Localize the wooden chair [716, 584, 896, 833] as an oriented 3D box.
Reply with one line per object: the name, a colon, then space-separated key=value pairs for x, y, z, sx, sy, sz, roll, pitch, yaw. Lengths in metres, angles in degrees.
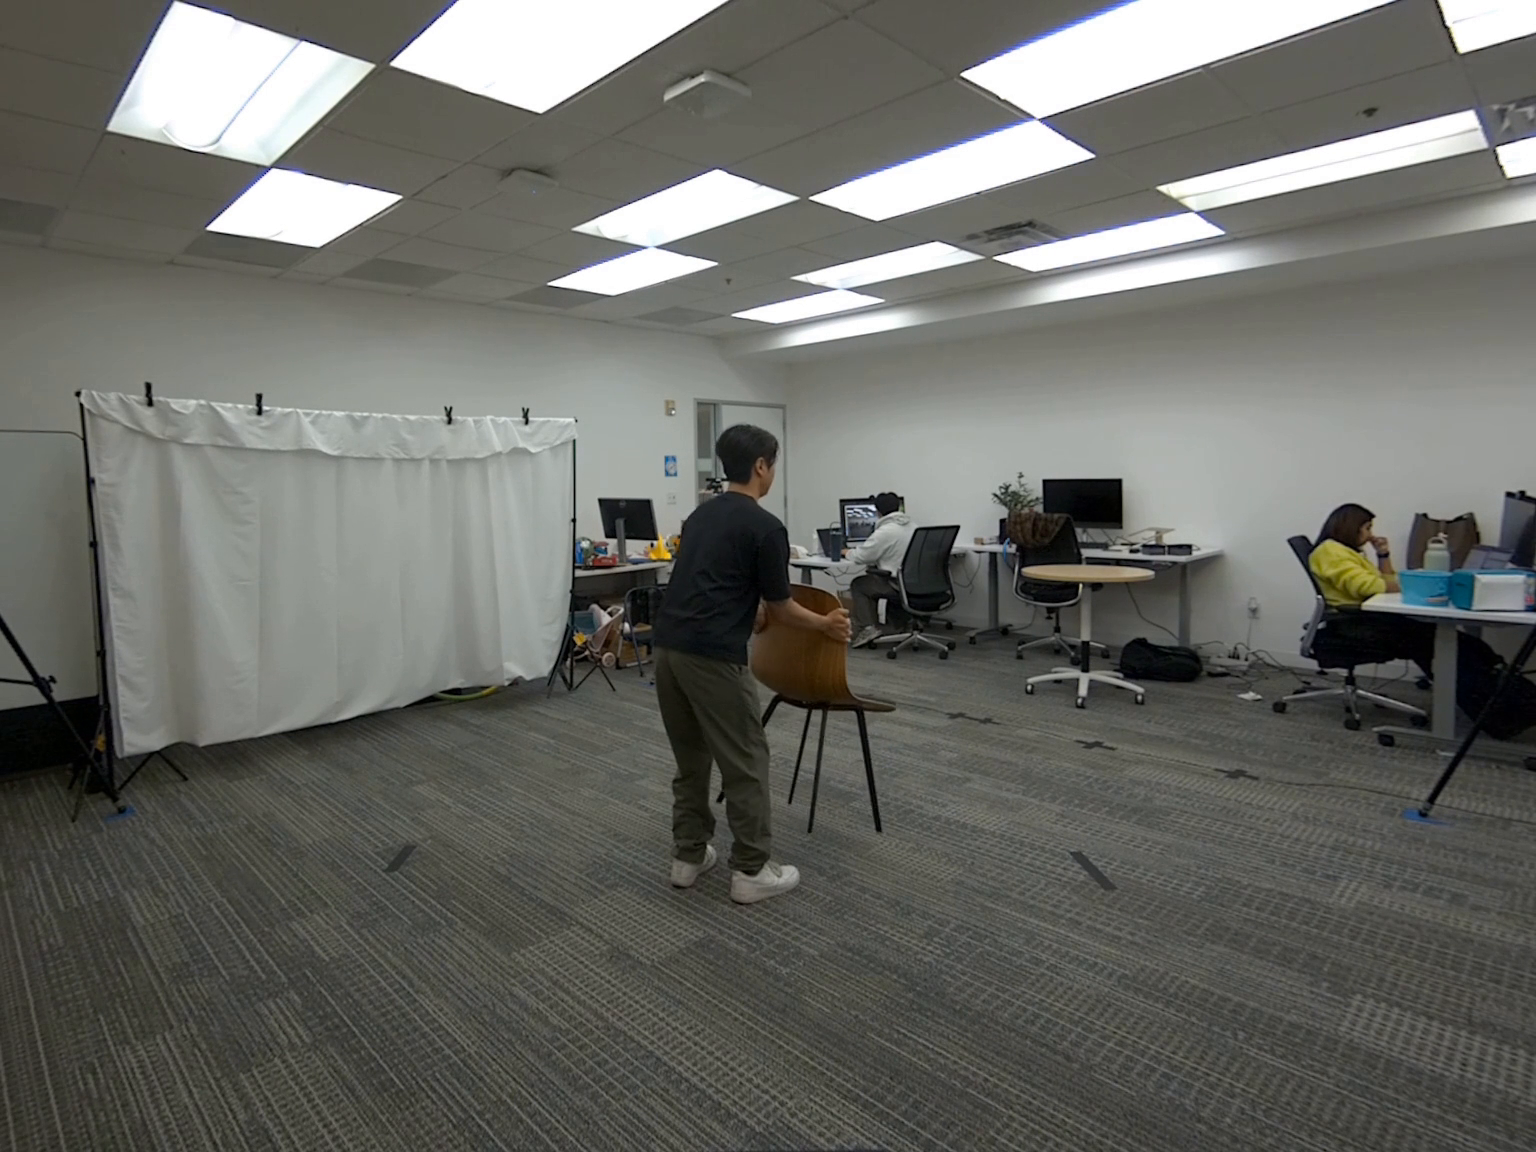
wooden chair: x=0.194 y=0.494 z=3.282 sx=0.492 sy=0.881 sz=0.505 roll=2 pitch=-7 yaw=42
